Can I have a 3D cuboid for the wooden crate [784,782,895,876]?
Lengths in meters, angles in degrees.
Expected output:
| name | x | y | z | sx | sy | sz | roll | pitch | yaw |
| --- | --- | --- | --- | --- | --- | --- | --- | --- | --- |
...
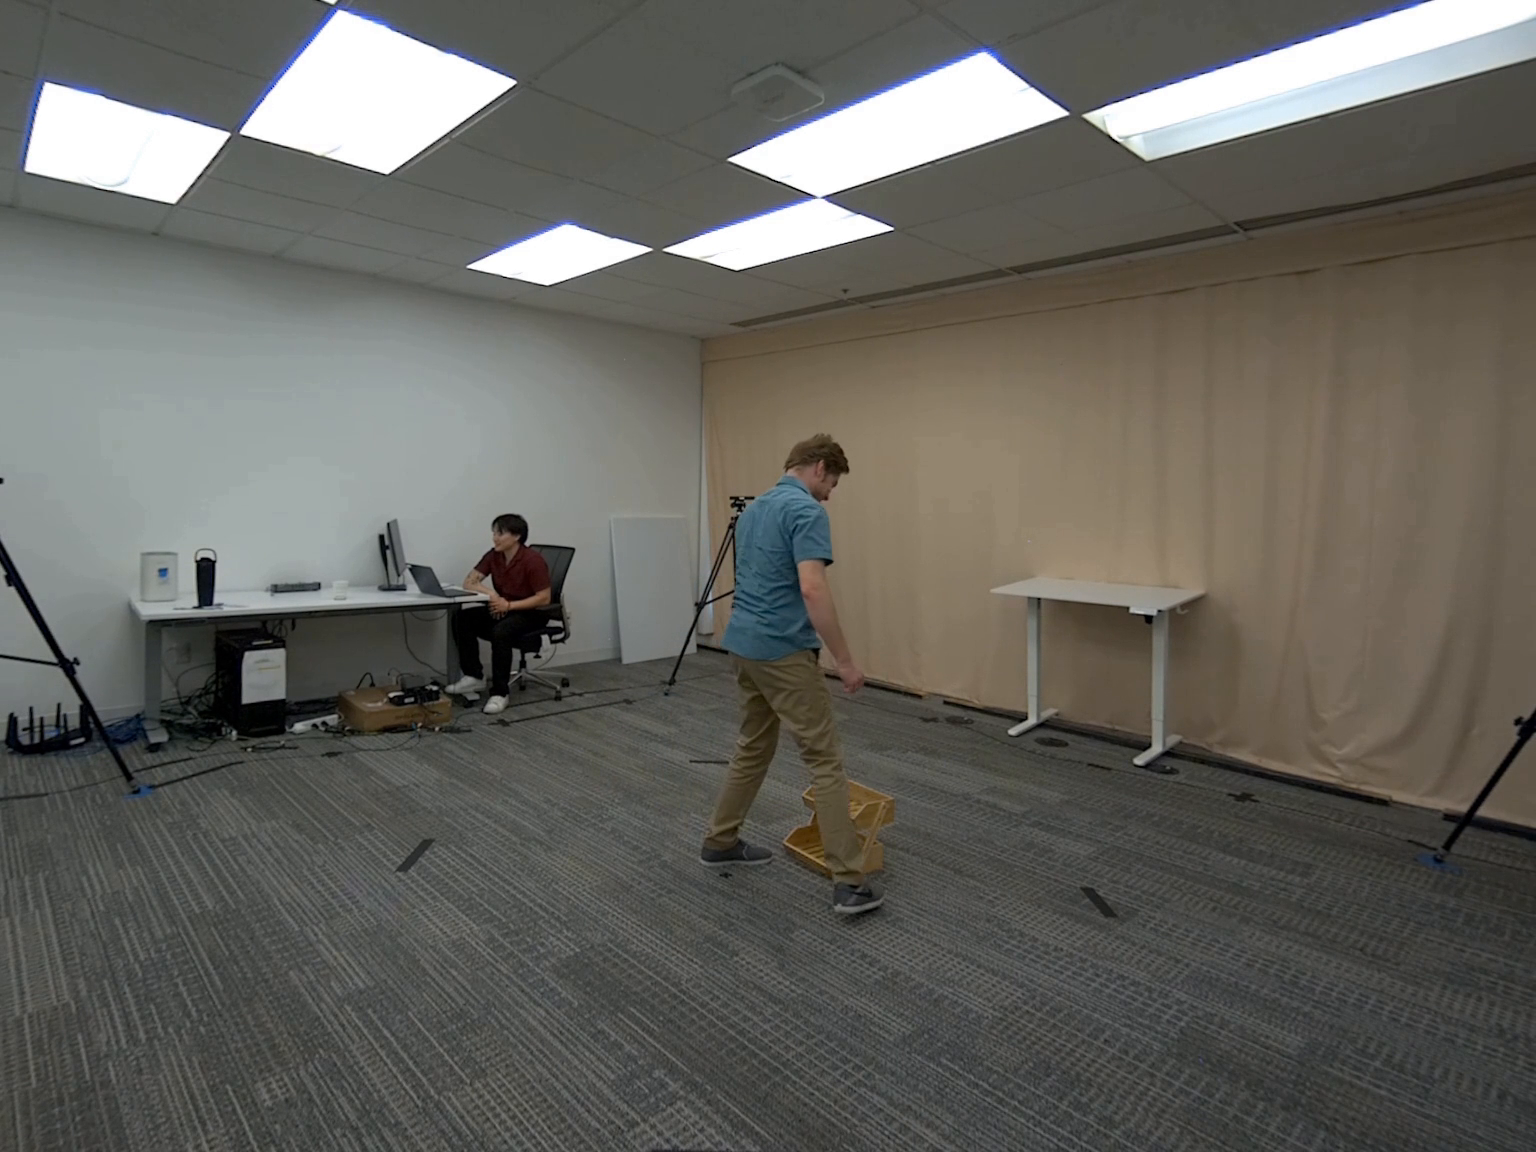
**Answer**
| name | x | y | z | sx | sy | sz | roll | pitch | yaw |
| --- | --- | --- | --- | --- | --- | --- | --- | --- | --- |
| wooden crate | 0.259 | 0.963 | 3.257 | 0.295 | 0.273 | 0.332 | -1 | 4 | -36 |
